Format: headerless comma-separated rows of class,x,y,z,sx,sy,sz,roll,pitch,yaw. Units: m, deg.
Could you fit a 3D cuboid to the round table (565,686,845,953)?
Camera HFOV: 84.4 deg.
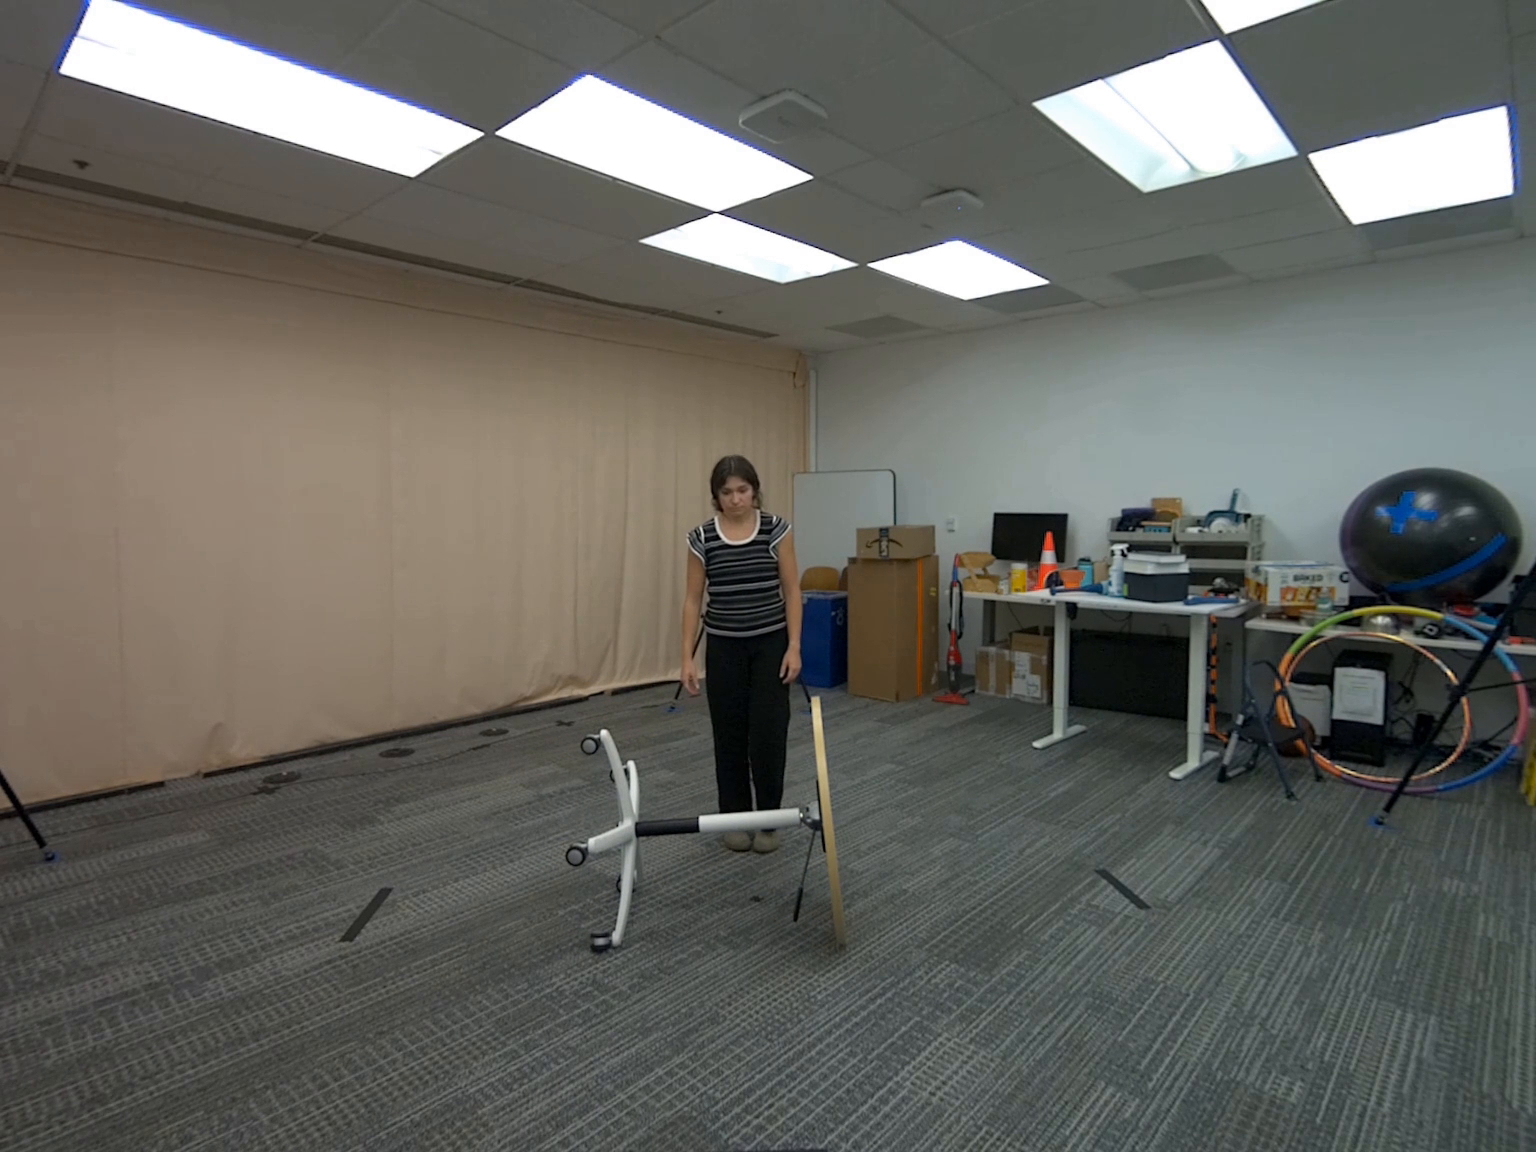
round table,-0.186,0.832,2.786,0.798,0.762,0.762,-6,3,4
